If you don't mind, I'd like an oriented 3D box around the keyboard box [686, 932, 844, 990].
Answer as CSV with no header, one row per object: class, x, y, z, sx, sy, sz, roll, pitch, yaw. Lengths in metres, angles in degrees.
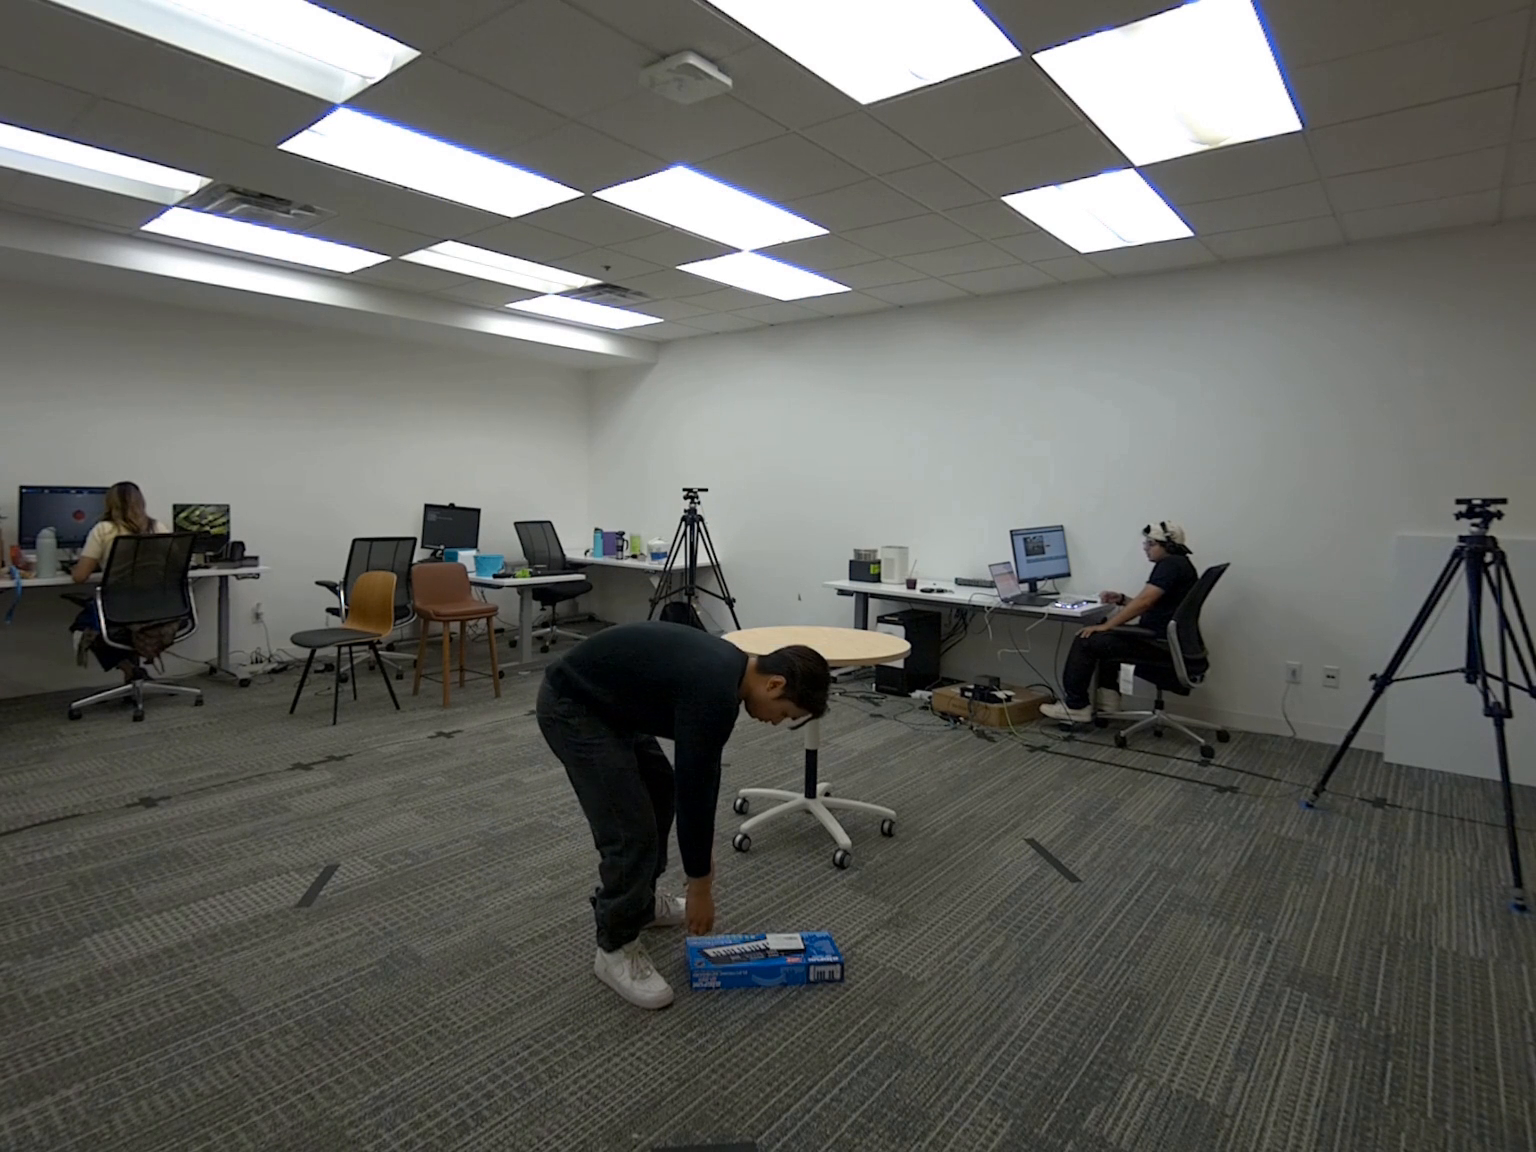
keyboard box,-0.023,1.107,2.467,0.433,0.059,0.178,0,6,-8
